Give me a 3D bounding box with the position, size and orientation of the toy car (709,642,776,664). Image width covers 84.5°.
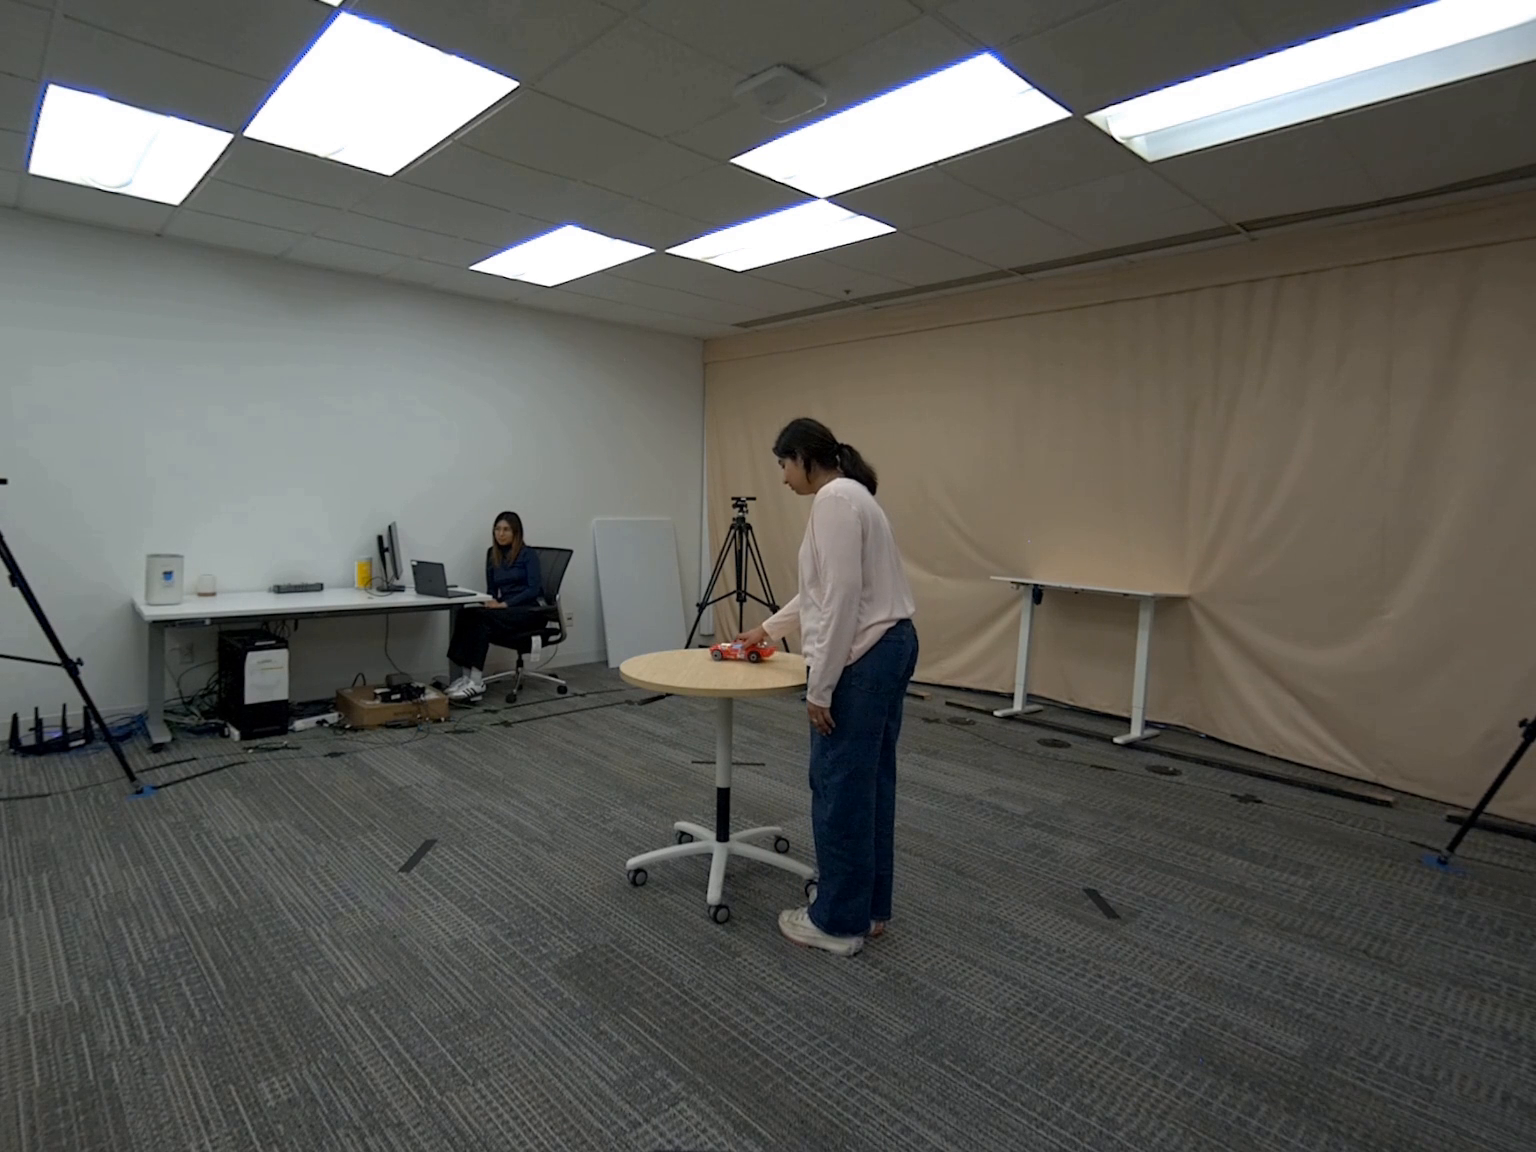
[{"bbox_3d":[-0.096,0.287,3.172,0.257,0.083,0.129,-9,1,14],"label":"toy car"}]
